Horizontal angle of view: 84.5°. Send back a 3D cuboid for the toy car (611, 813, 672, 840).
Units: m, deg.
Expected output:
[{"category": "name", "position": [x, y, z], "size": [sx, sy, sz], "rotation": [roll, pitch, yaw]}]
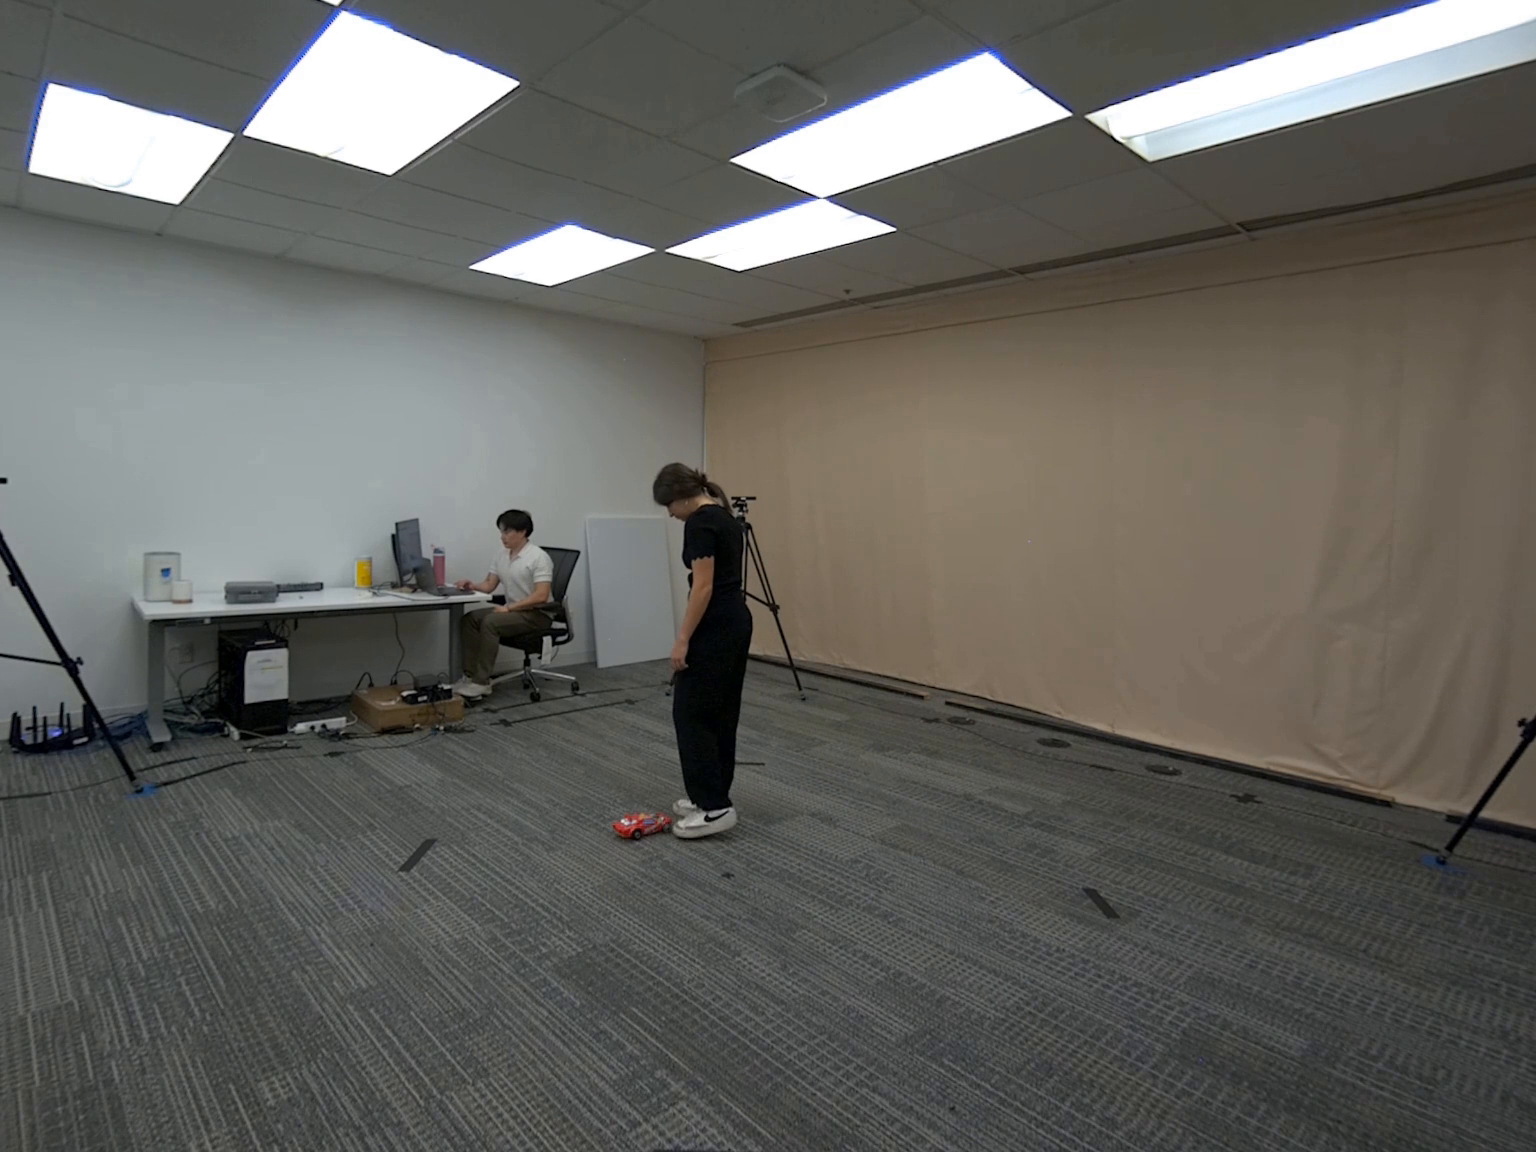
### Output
[{"category": "toy car", "position": [-0.536, 1.032, 3.478], "size": [0.248, 0.083, 0.133], "rotation": [13, -4, -37]}]
